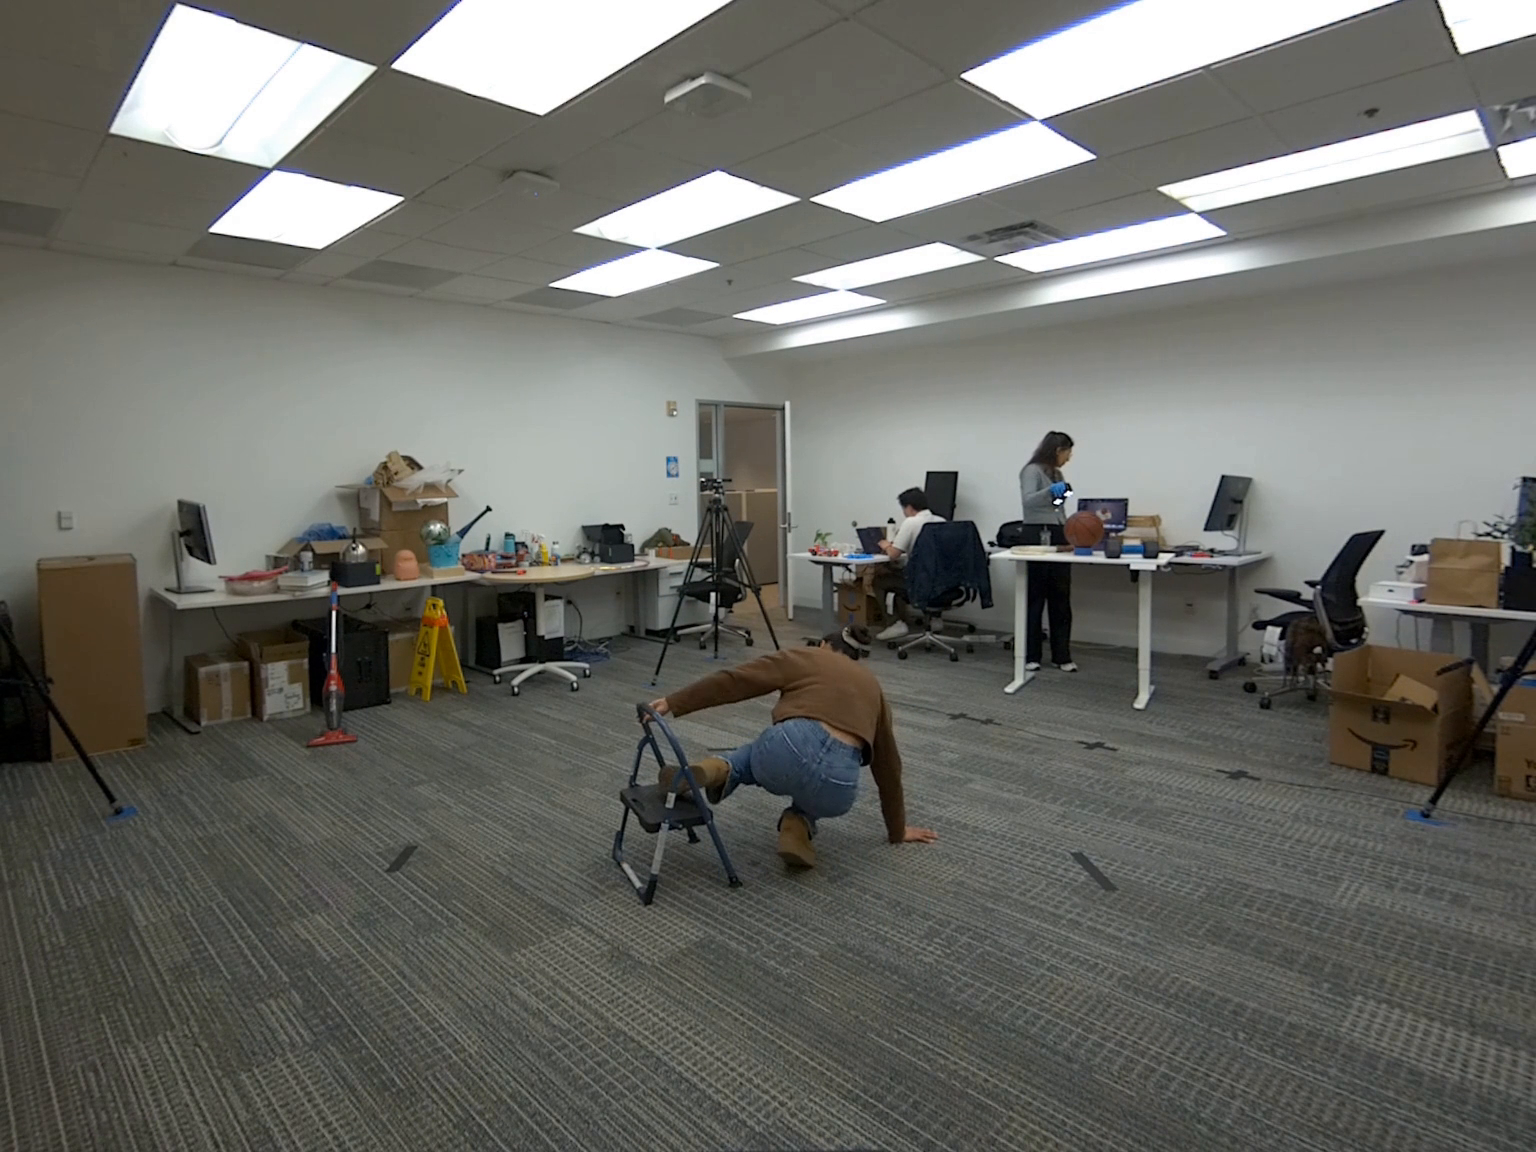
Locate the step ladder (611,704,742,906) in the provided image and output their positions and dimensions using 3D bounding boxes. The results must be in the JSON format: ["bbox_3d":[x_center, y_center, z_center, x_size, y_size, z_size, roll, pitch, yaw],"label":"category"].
[{"bbox_3d":[-0.342,0.754,3.040,0.342,0.604,0.441,-3,5,-26],"label":"step ladder"}]
